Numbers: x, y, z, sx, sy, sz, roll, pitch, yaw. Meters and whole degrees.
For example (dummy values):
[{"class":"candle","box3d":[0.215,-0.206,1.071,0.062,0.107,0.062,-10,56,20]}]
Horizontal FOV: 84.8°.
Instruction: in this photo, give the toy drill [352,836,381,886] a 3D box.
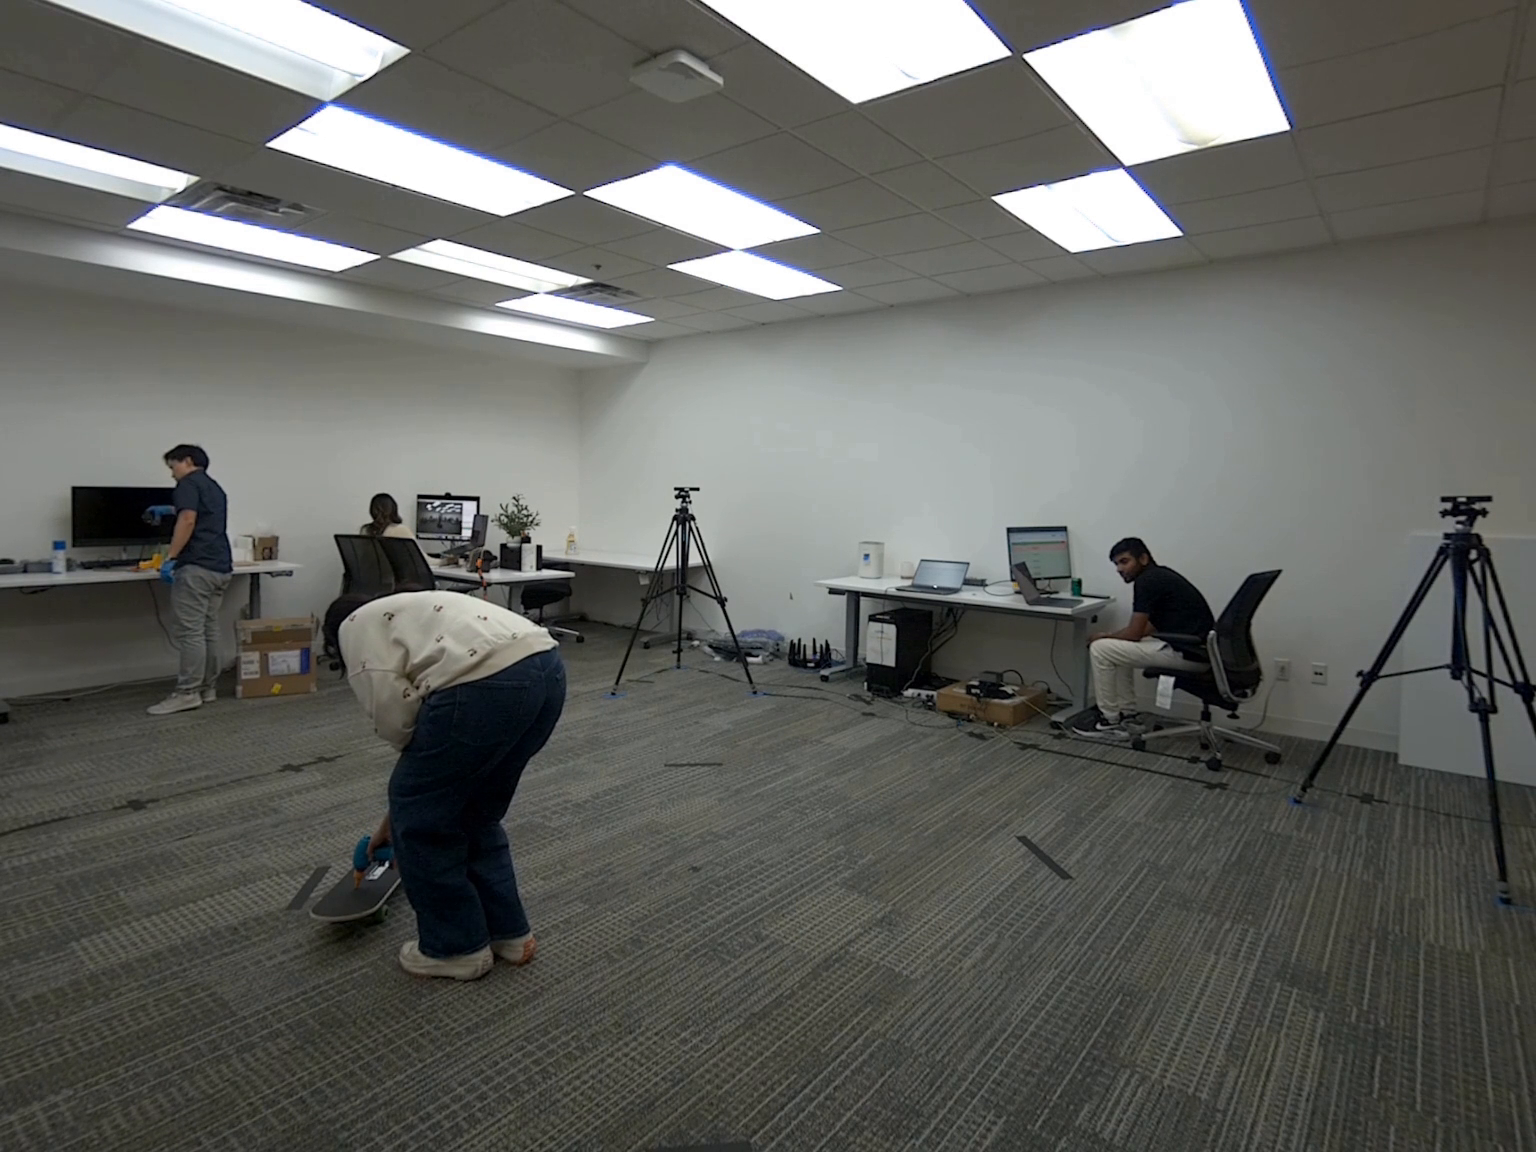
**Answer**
[{"class":"toy drill","box3d":[-1.290,0.932,2.737,0.146,0.169,0.061,14,2,0]}]
